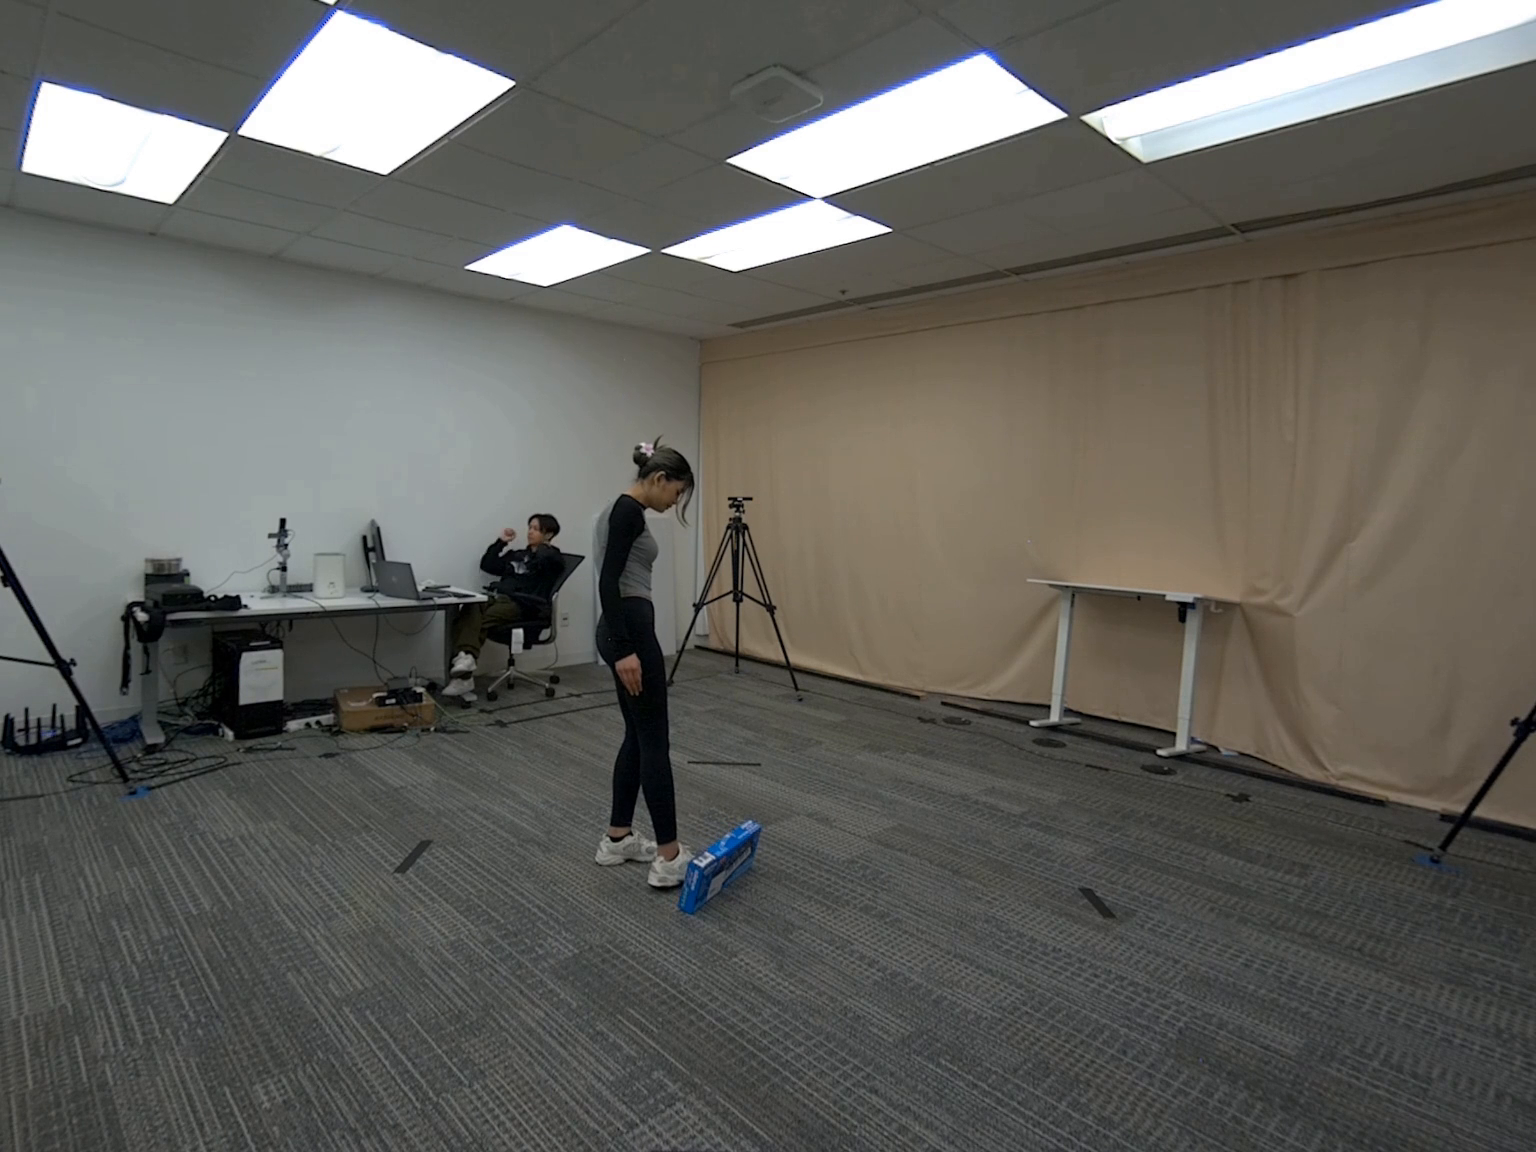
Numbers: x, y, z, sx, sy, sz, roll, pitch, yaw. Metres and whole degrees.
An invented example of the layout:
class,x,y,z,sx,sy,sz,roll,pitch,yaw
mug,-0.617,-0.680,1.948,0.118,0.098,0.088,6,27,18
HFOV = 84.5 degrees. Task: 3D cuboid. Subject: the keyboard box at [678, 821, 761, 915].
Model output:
class,x,y,z,sx,sy,sz,roll,pitch,yaw
keyboard box,-0.170,1.028,2.998,0.060,0.175,0.429,18,12,24
